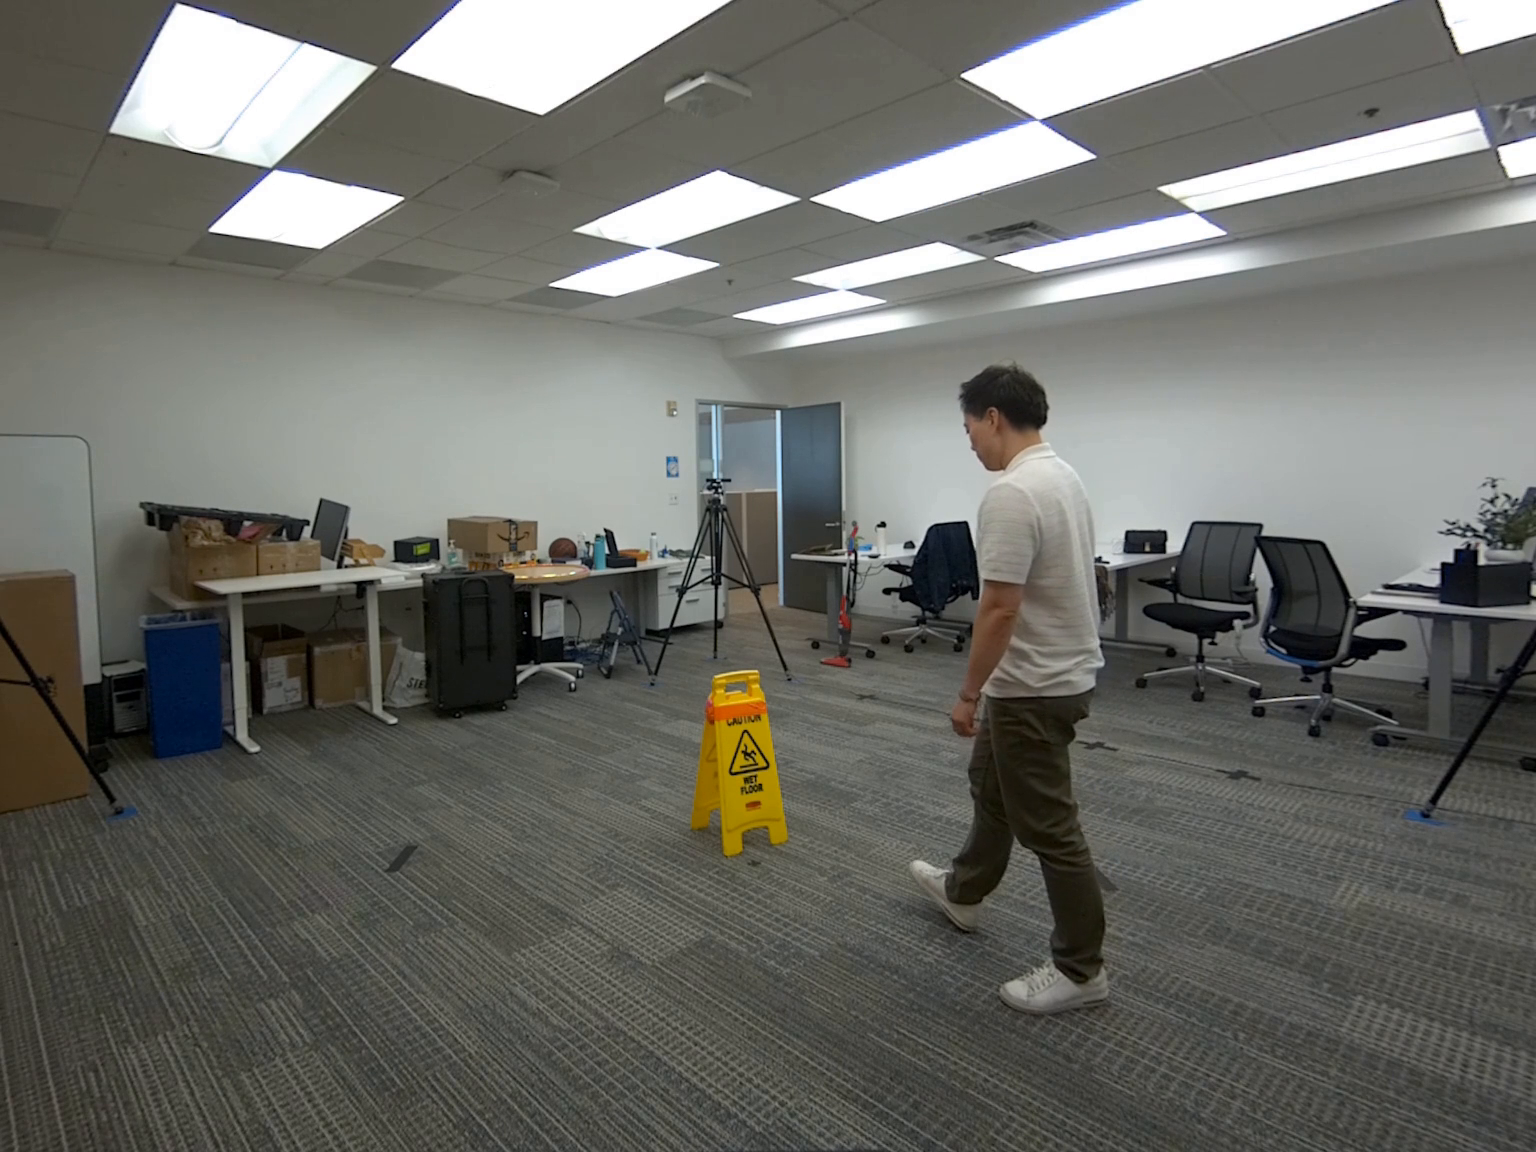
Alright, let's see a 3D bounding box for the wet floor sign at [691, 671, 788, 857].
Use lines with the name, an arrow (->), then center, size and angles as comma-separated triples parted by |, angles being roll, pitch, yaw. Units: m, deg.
wet floor sign -> -0.118, 0.695, 3.333 | 0.276, 0.644, 0.298 | -3, 5, -30
